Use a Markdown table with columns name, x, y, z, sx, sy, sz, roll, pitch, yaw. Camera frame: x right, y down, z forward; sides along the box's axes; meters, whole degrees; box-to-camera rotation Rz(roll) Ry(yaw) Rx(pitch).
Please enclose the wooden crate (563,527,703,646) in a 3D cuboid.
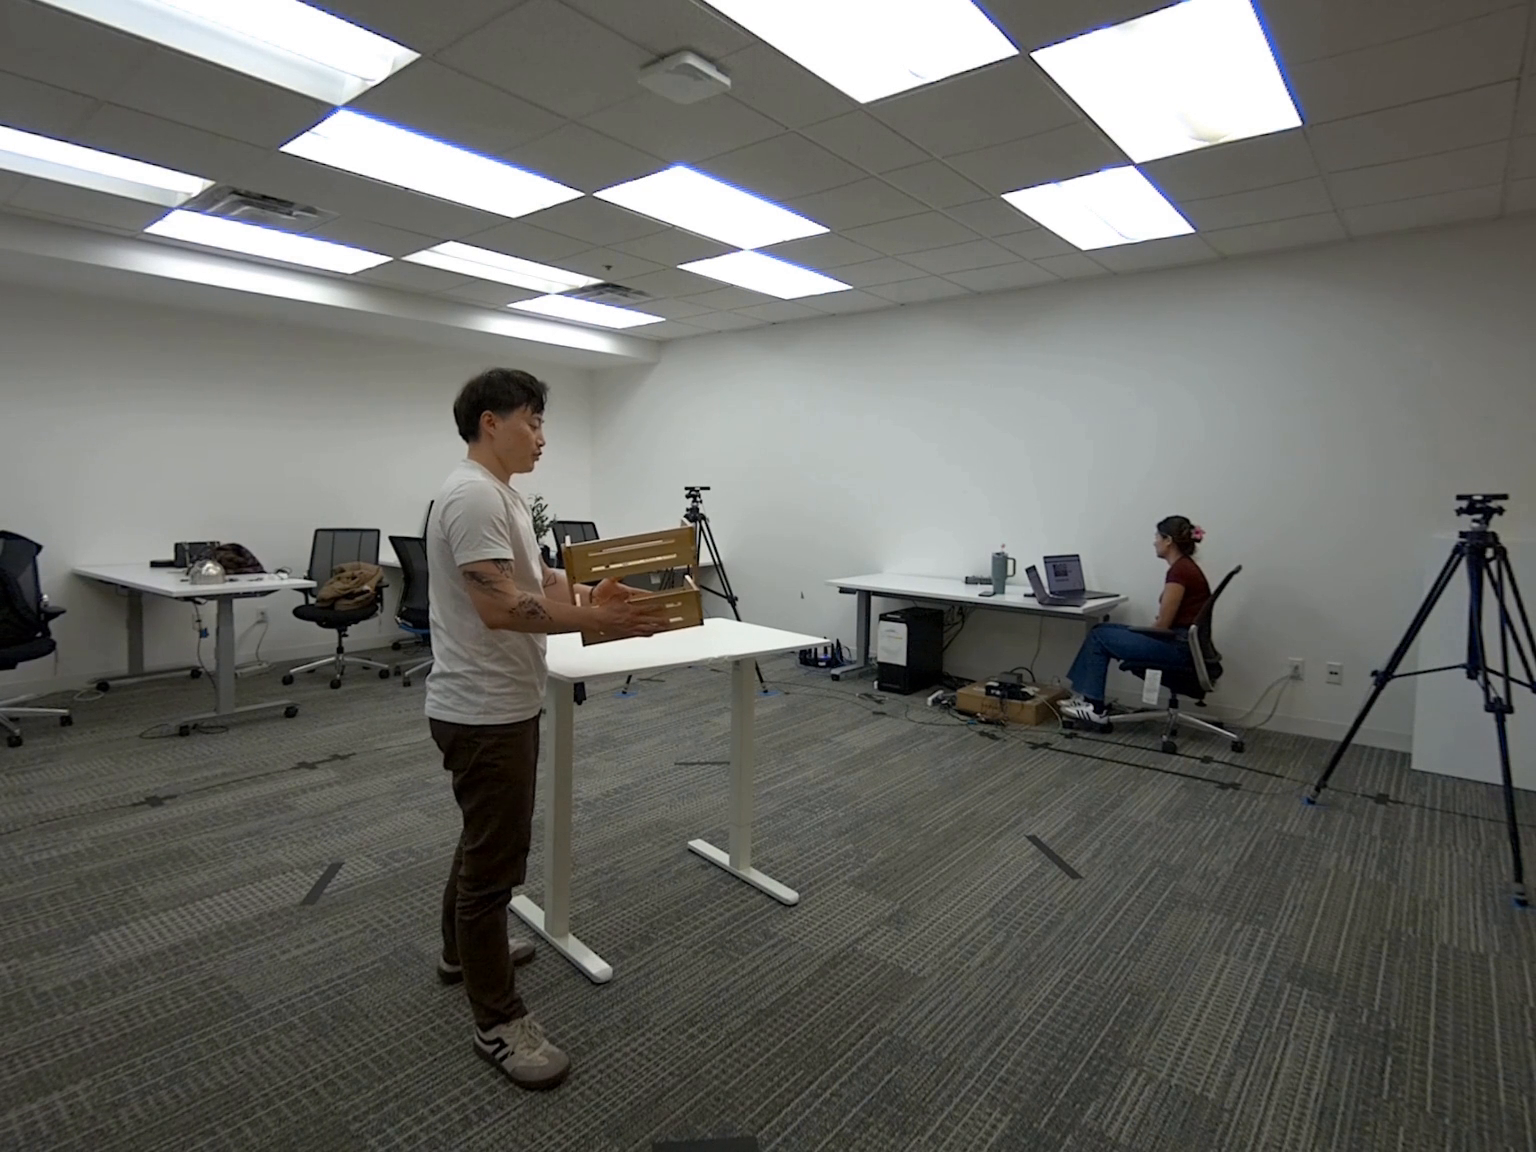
| name | x | y | z | sx | sy | sz | roll | pitch | yaw |
| --- | --- | --- | --- | --- | --- | --- | --- | --- | --- |
| wooden crate | -0.356 | 0.004 | 2.143 | 0.321 | 0.270 | 0.308 | -10 | 10 | -12 |
